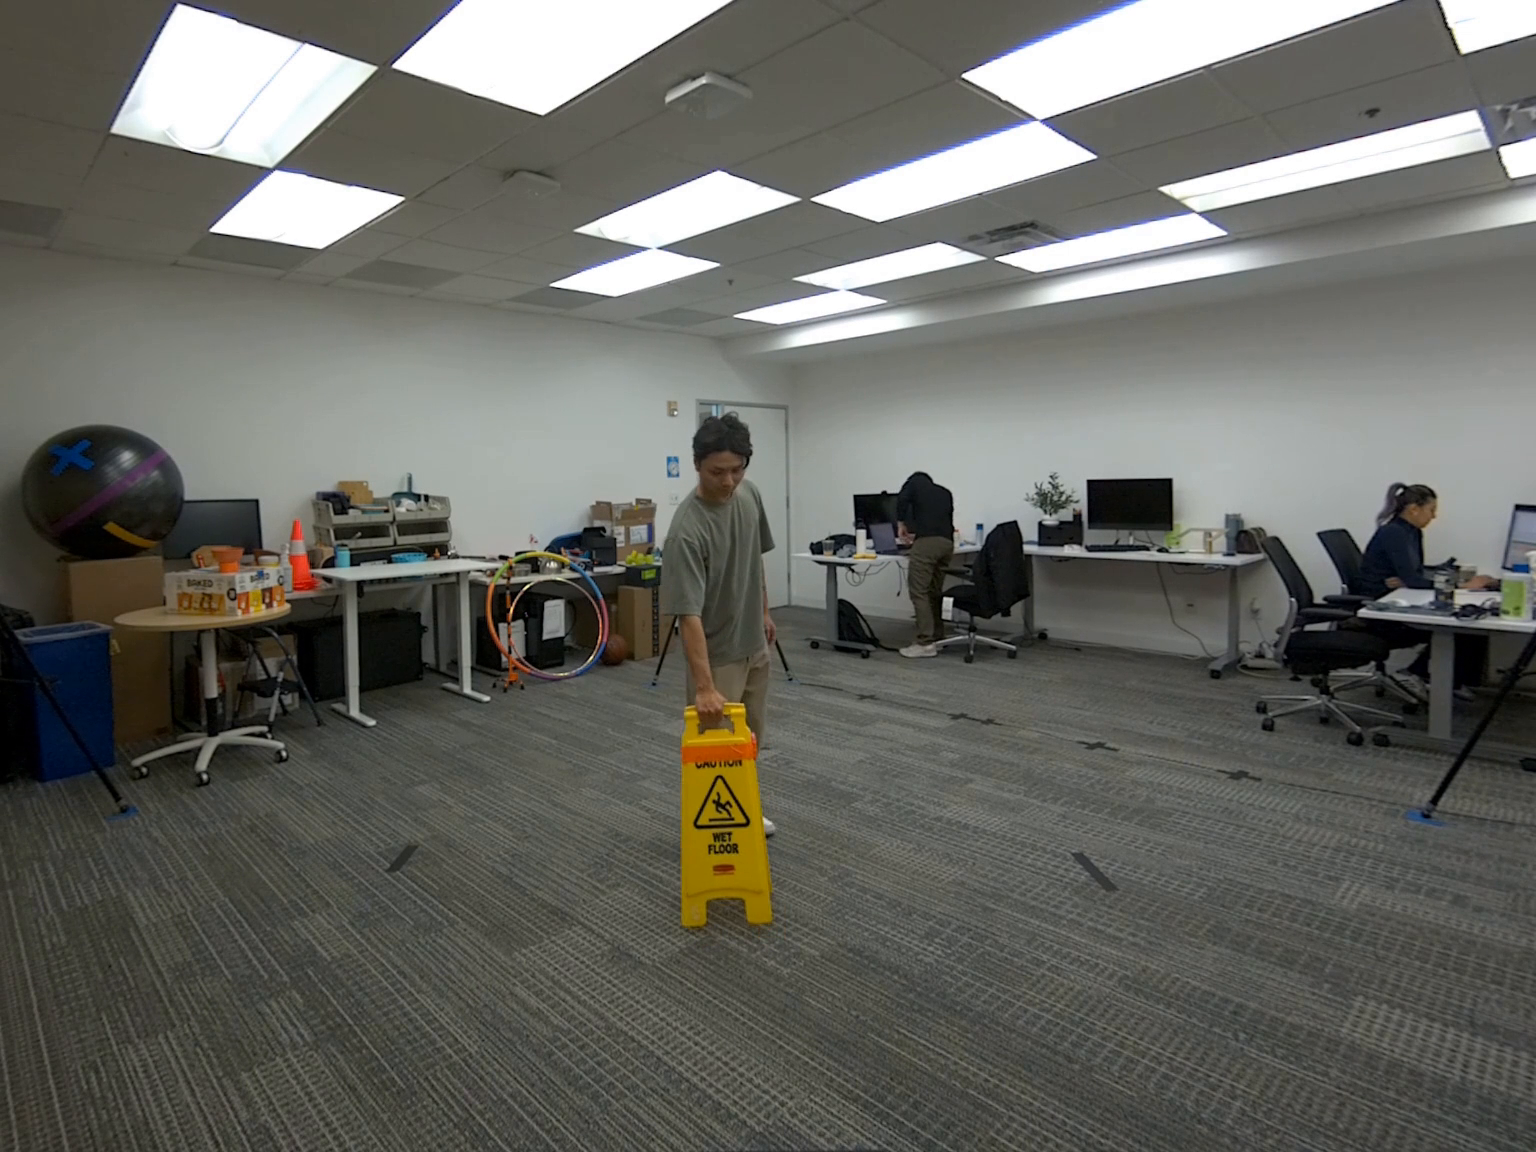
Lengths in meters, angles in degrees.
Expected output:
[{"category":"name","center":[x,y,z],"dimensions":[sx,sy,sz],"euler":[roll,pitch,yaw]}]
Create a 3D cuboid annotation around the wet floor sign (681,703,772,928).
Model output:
[{"category":"wet floor sign","center":[-0.155,0.749,2.758],"dimensions":[0.283,0.647,0.288],"euler":[-4,-1,3]}]
